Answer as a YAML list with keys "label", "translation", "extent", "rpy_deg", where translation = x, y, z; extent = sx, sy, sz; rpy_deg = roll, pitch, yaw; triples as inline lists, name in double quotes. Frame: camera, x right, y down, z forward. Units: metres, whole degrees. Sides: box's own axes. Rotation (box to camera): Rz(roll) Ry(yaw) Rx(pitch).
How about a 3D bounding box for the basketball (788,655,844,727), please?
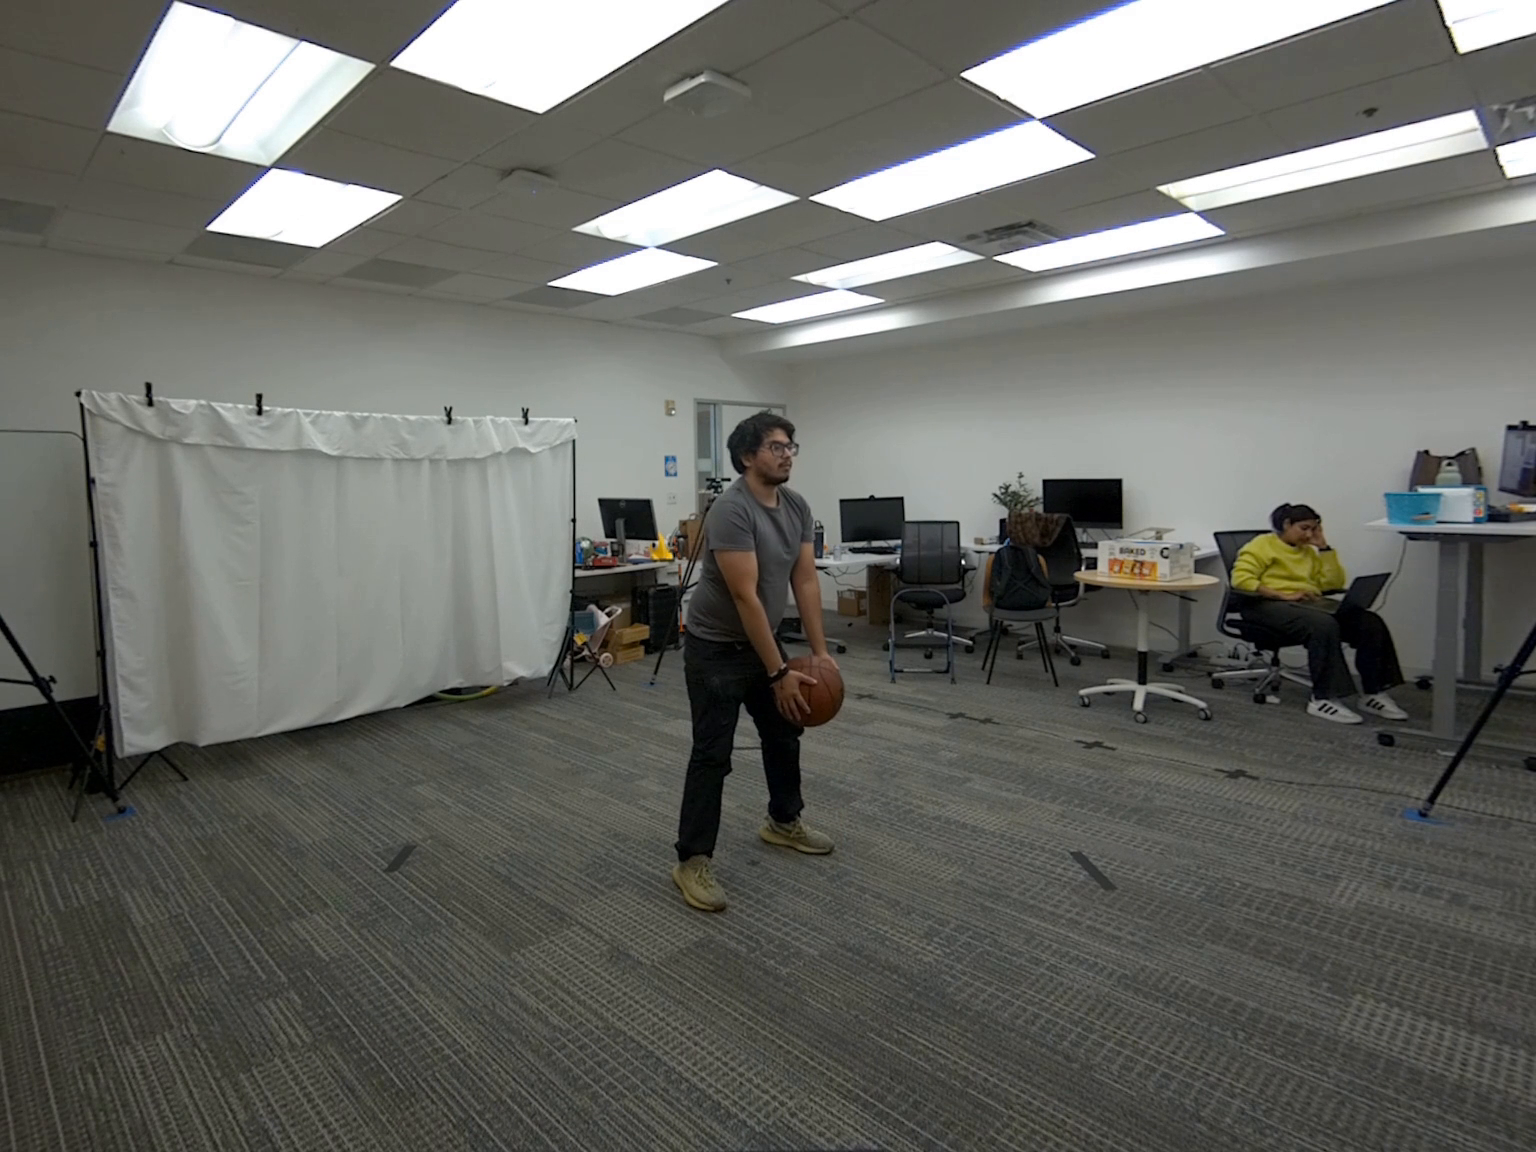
- label: "basketball"
  translation: [0.129, 0.386, 2.841]
  extent: [0.236, 0.235, 0.237]
  rpy_deg: [-1, 5, -2]
